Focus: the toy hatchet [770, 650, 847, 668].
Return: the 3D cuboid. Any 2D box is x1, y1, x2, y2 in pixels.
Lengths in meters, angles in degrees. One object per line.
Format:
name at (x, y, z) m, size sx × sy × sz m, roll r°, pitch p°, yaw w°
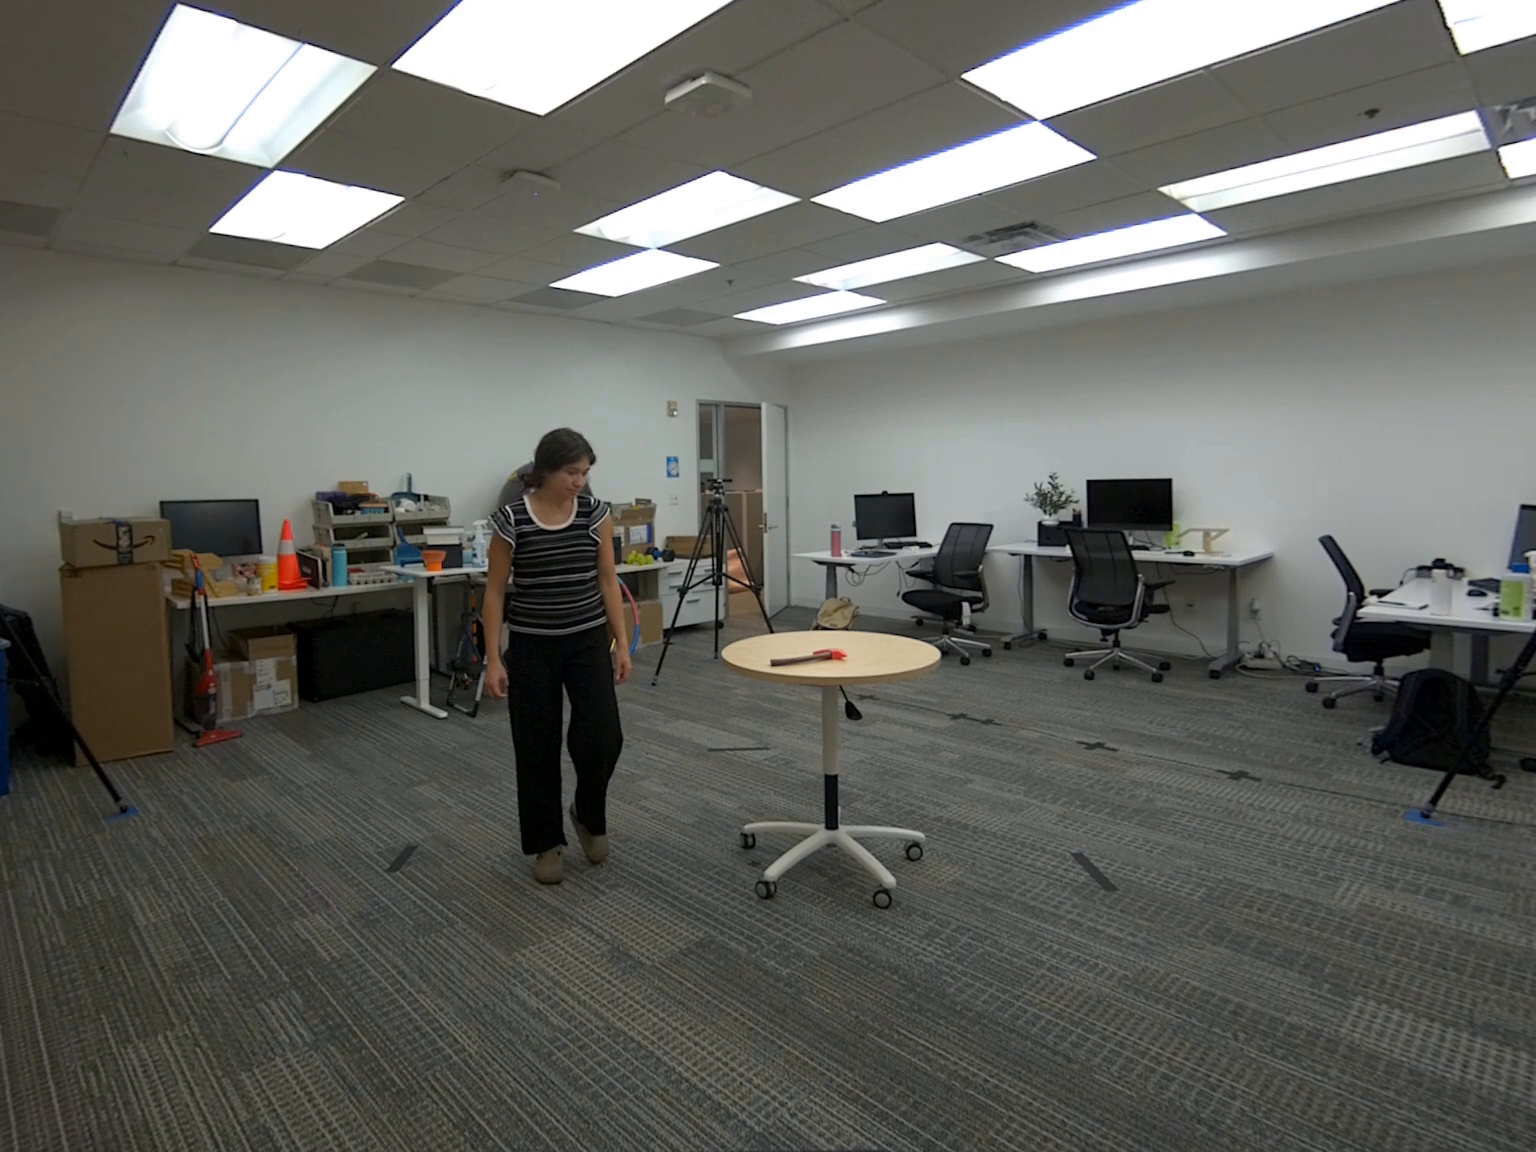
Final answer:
toy hatchet at (0.130, 0.272, 2.889) m, size 0.267 × 0.029 × 0.133 m, roll -4°, pitch 5°, yaw -13°
